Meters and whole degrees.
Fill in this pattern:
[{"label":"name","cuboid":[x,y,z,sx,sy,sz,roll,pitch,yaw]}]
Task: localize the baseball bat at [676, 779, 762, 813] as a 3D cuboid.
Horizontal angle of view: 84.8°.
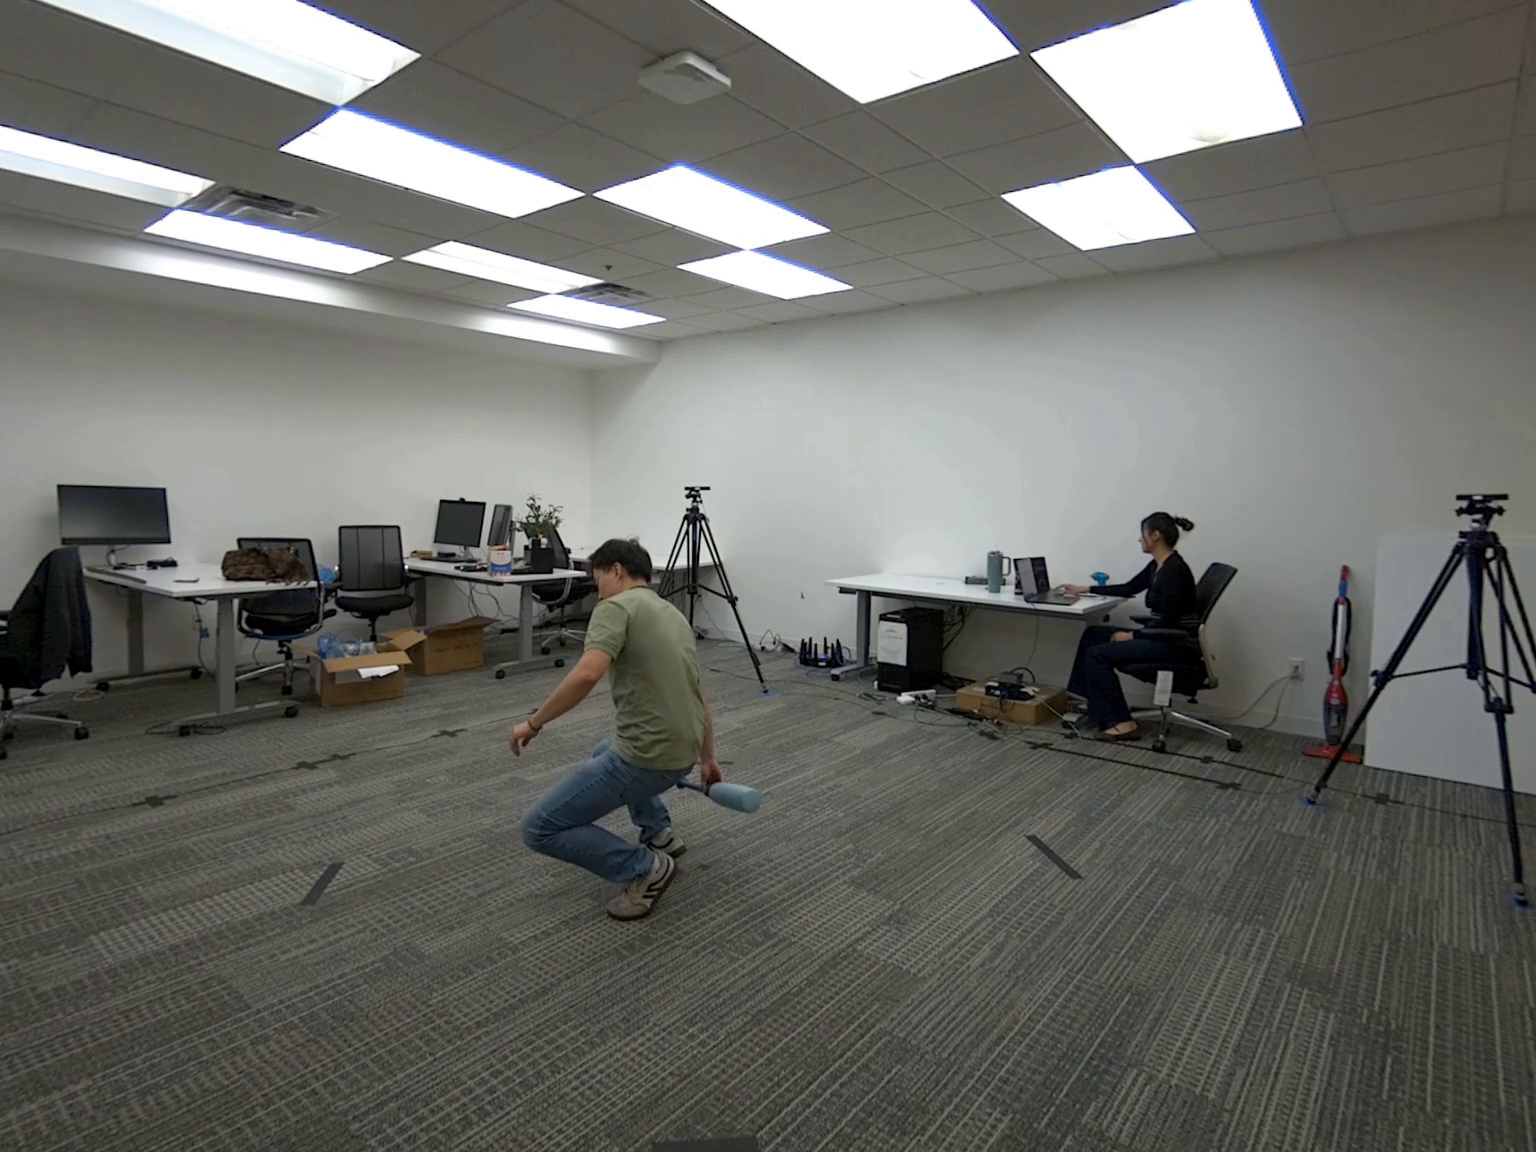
[{"label":"baseball bat","cuboid":[-0.214,0.812,3.191,0.086,0.089,0.555,-2,-5,-34]}]
